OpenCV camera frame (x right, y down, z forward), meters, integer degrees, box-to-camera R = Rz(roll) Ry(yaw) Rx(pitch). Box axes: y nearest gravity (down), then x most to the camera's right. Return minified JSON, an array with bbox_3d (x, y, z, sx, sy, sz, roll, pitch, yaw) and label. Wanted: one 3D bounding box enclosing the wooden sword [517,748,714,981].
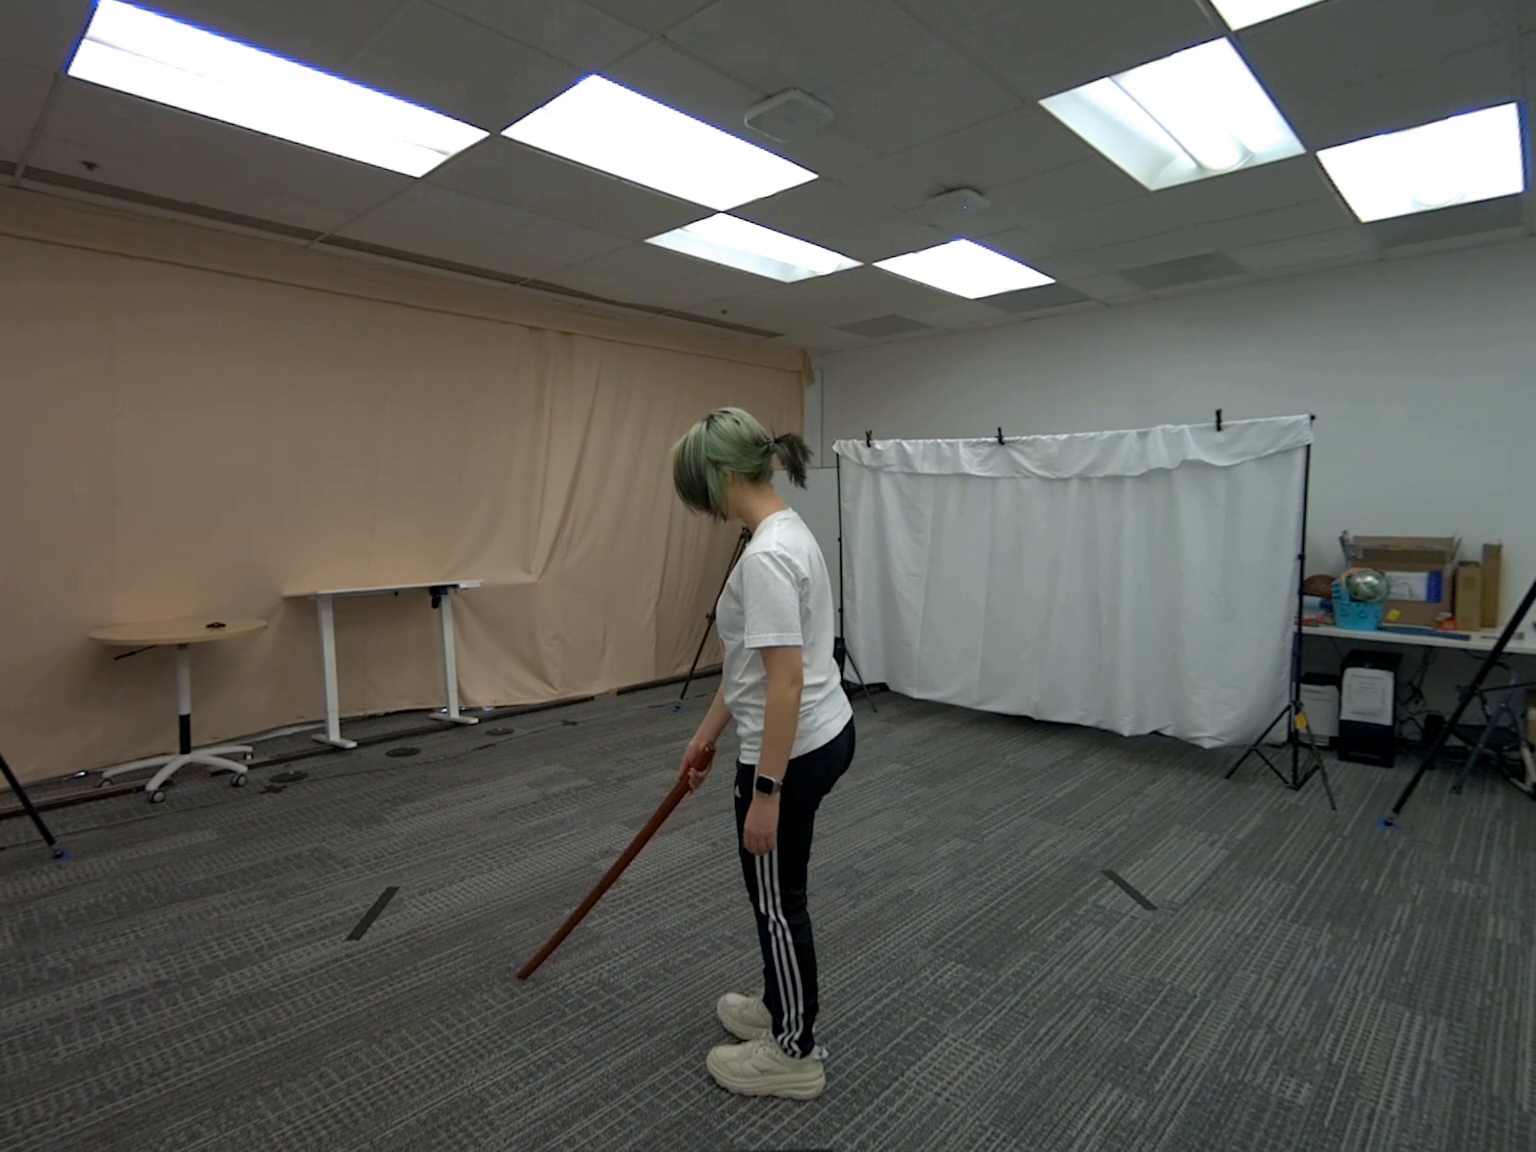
[{"bbox_3d":[-0.434,0.820,2.298,0.025,1.028,0.050,49,22,24],"label":"wooden sword"}]
